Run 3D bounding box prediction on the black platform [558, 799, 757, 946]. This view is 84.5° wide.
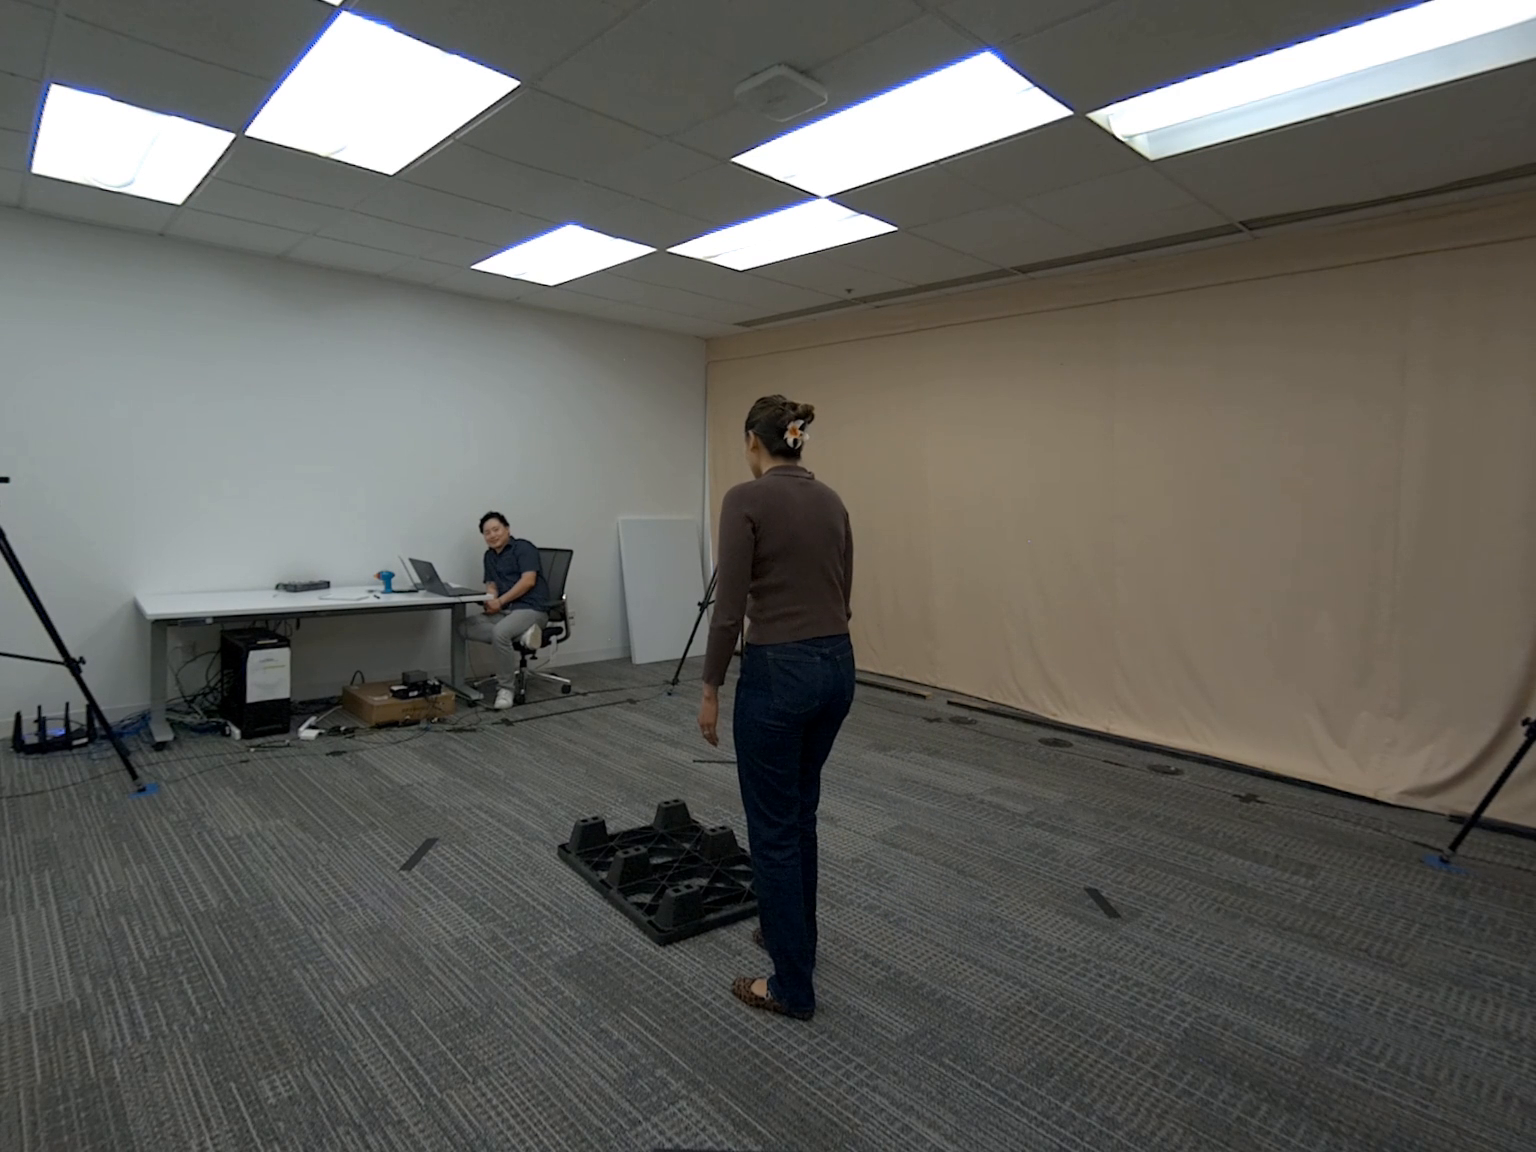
[{"bbox_3d":[-0.335,1.033,3.079,0.592,0.143,0.826,-3,7,-37],"label":"black platform"}]
